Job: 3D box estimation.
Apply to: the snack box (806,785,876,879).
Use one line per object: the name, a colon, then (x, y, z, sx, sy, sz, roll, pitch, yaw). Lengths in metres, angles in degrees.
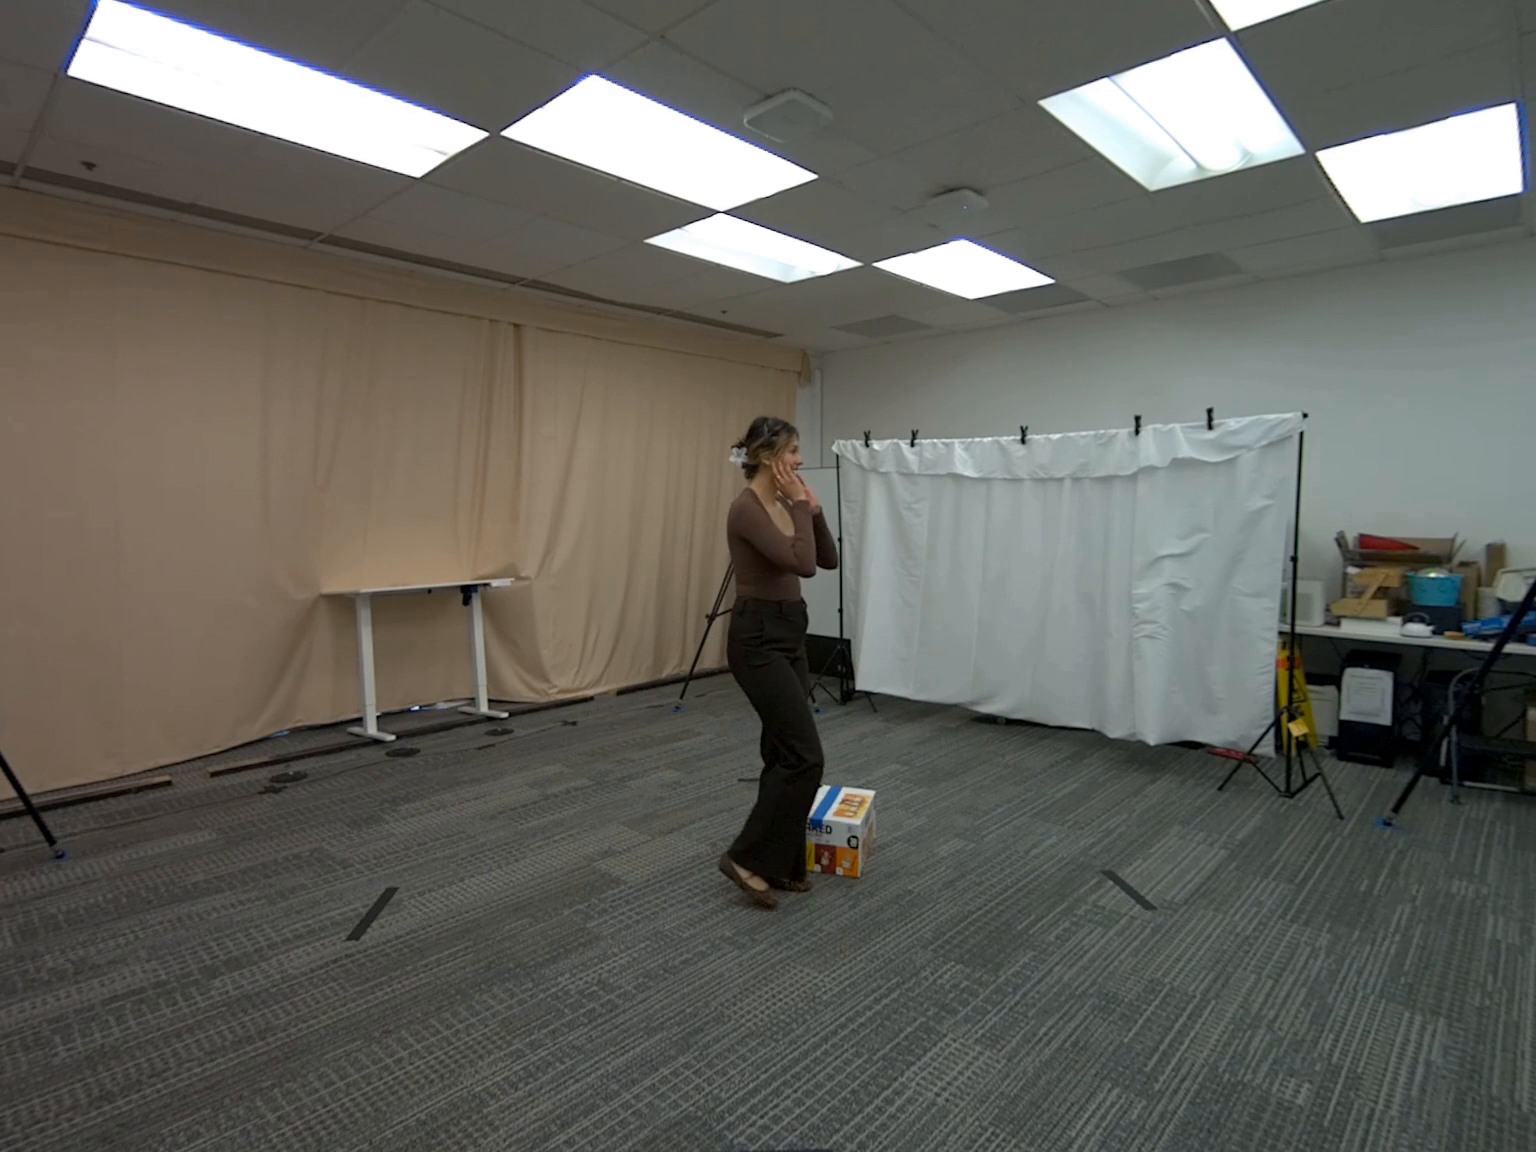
snack box: (0.236, 1.006, 3.382, 0.347, 0.205, 0.398, 2, 5, 18)
